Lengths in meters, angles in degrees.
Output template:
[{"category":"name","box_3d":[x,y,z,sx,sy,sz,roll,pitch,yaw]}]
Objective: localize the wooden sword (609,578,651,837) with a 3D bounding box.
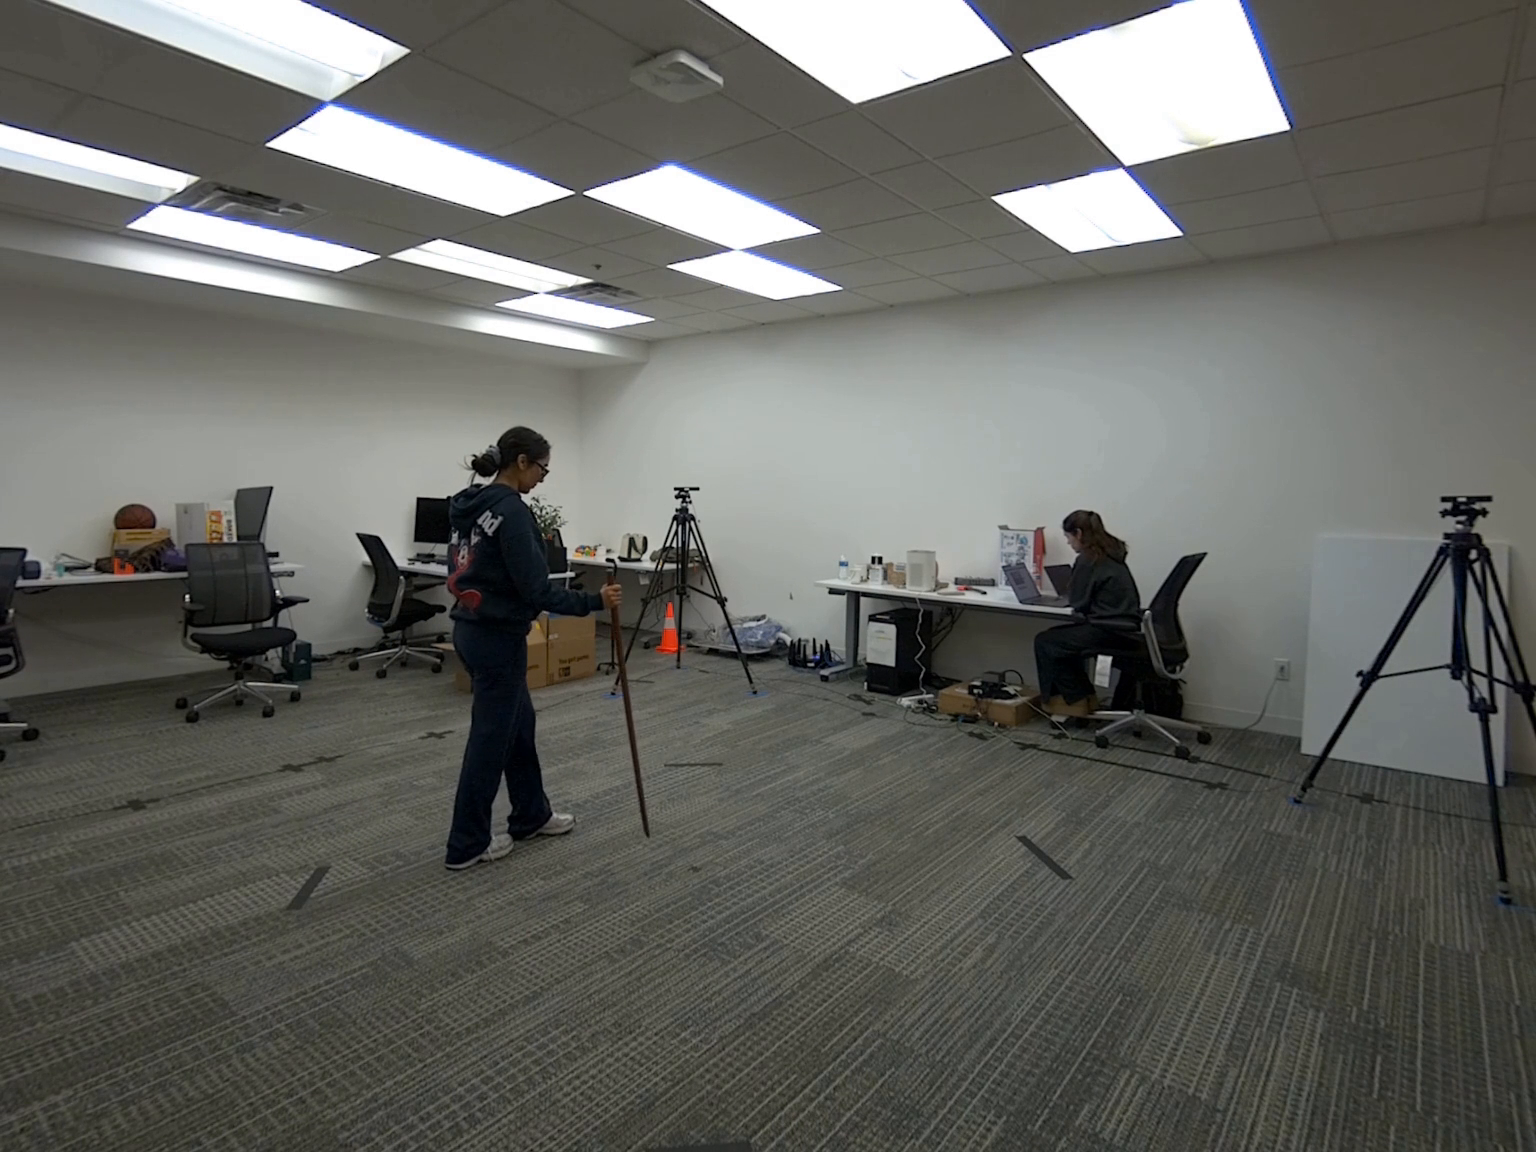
[{"category":"wooden sword","box_3d":[-0.539,0.512,3.160,0.051,1.016,0.024,-6,7,-7]}]
